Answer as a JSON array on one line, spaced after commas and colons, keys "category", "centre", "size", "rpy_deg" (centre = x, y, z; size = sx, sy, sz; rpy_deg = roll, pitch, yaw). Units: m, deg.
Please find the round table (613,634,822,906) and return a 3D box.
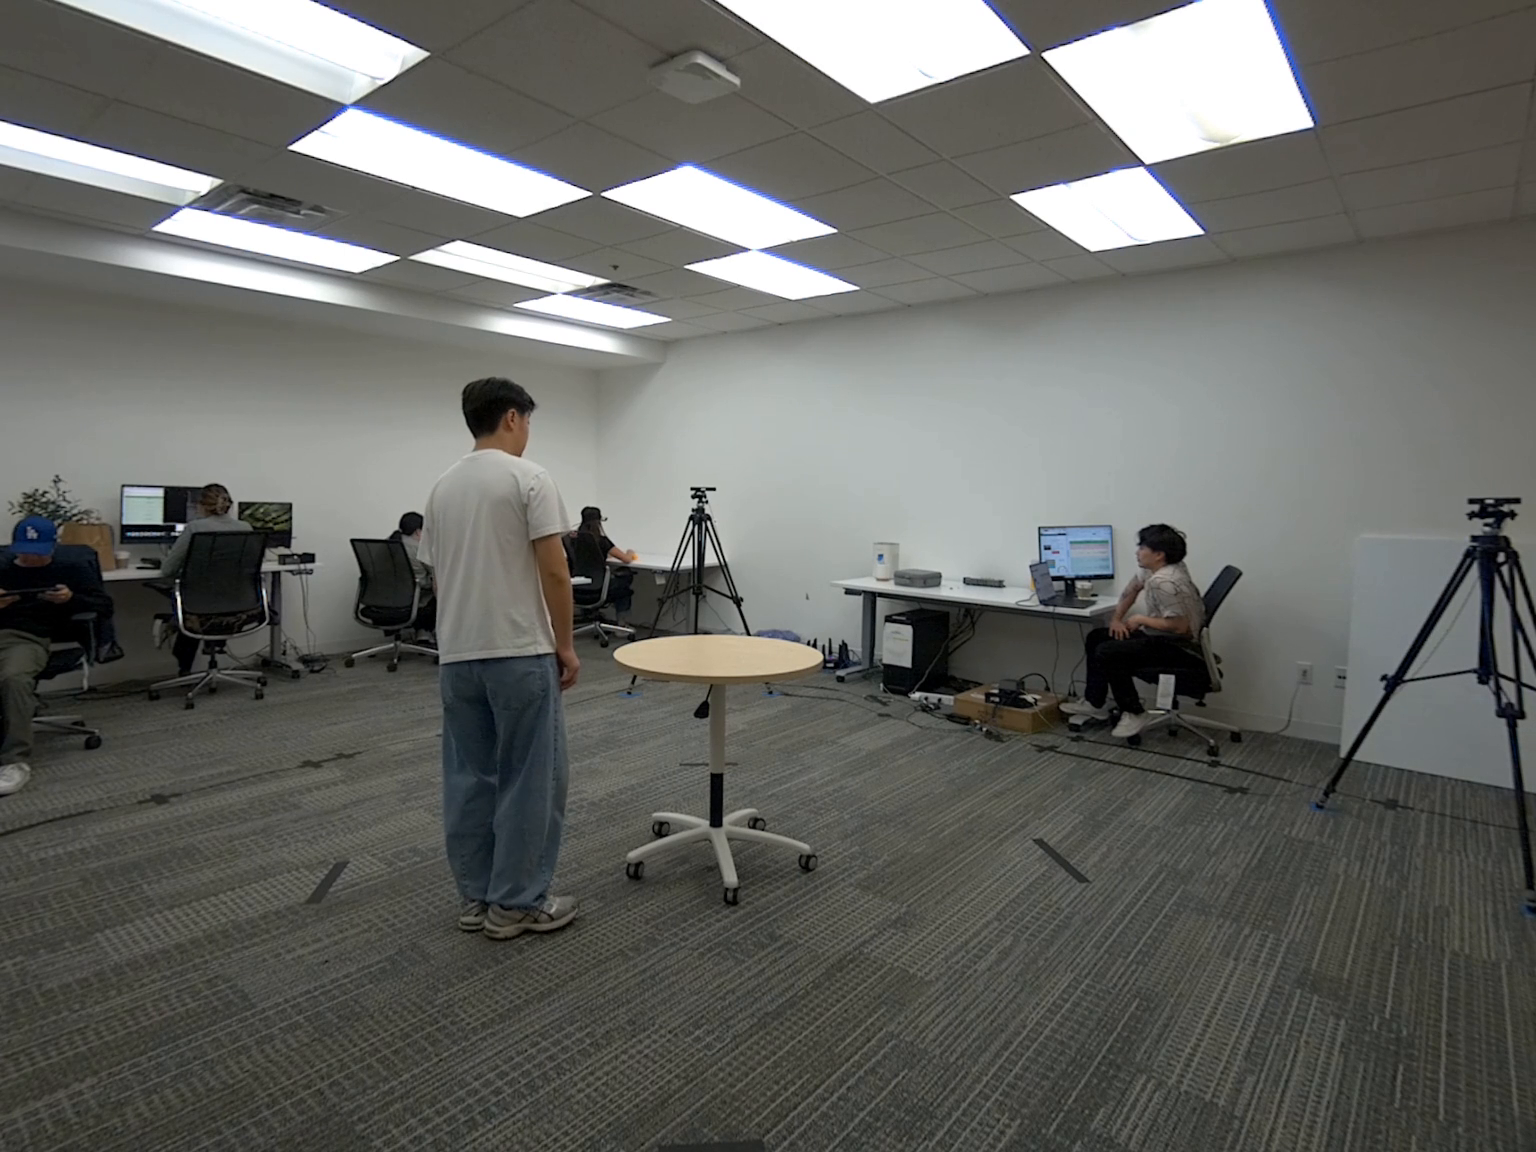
[{"category": "round table", "centre": [-0.199, 0.674, 3.137], "size": [0.763, 0.792, 0.767], "rpy_deg": [1, 4, -2]}]
